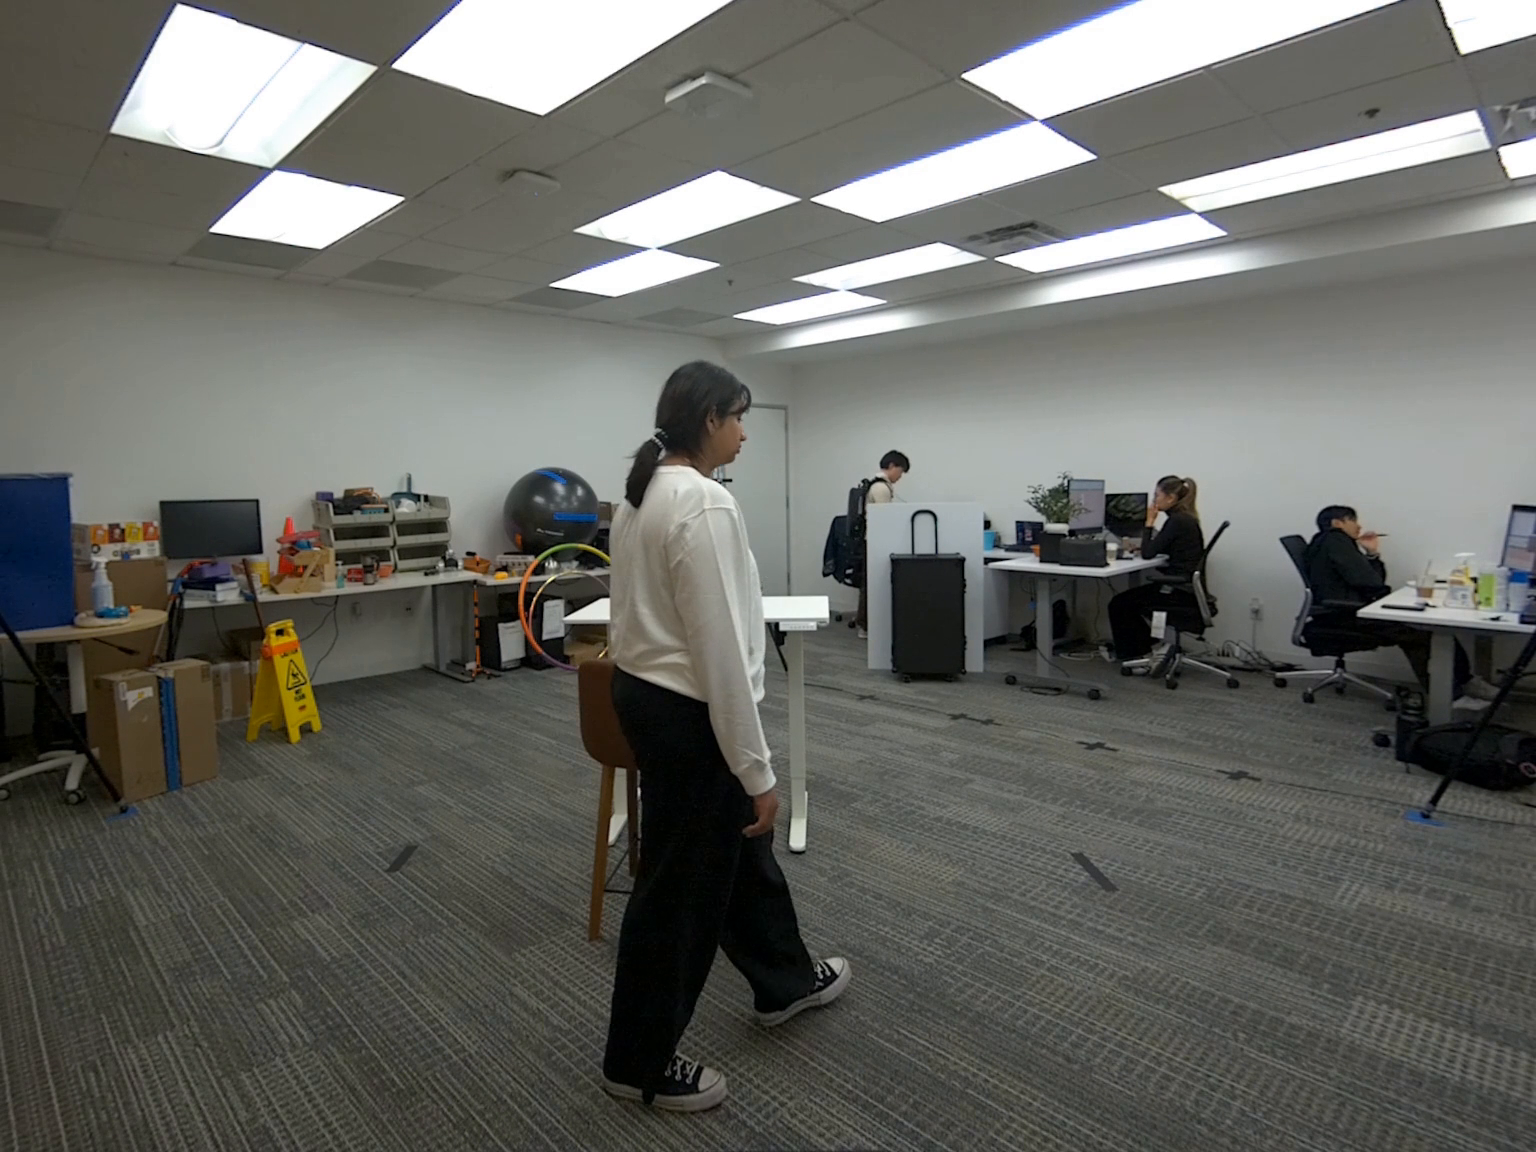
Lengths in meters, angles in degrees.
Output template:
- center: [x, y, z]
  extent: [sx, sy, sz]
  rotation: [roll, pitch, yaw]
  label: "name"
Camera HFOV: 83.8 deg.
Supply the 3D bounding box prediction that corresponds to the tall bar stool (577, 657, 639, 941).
- center: [-0.328, 0.656, 2.748]
  extent: [0.462, 0.884, 0.464]
  rotation: [0, 7, 12]
  label: "tall bar stool"
